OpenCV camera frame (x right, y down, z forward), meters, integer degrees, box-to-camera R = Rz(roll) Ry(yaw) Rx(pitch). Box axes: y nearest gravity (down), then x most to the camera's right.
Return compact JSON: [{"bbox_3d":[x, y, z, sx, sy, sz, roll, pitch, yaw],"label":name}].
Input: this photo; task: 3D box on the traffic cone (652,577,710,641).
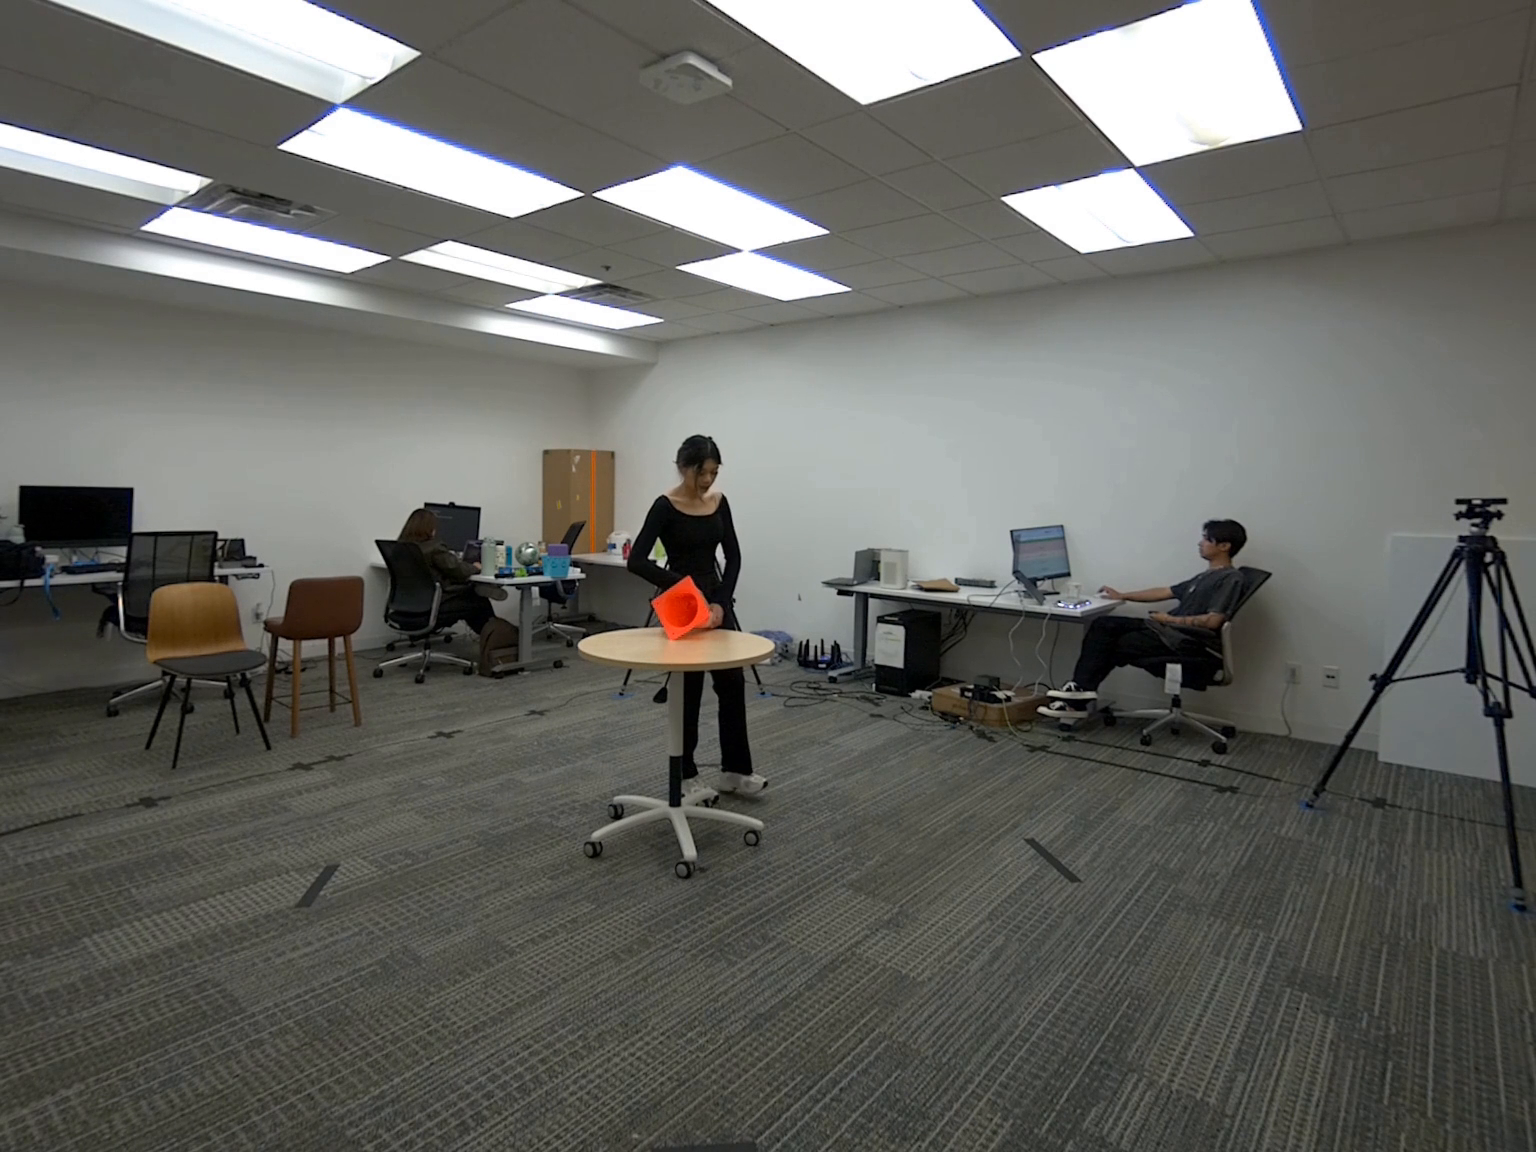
[{"bbox_3d":[-0.300,0.163,3.598,0.205,0.210,0.371,-39,-22,11],"label":"traffic cone"}]
